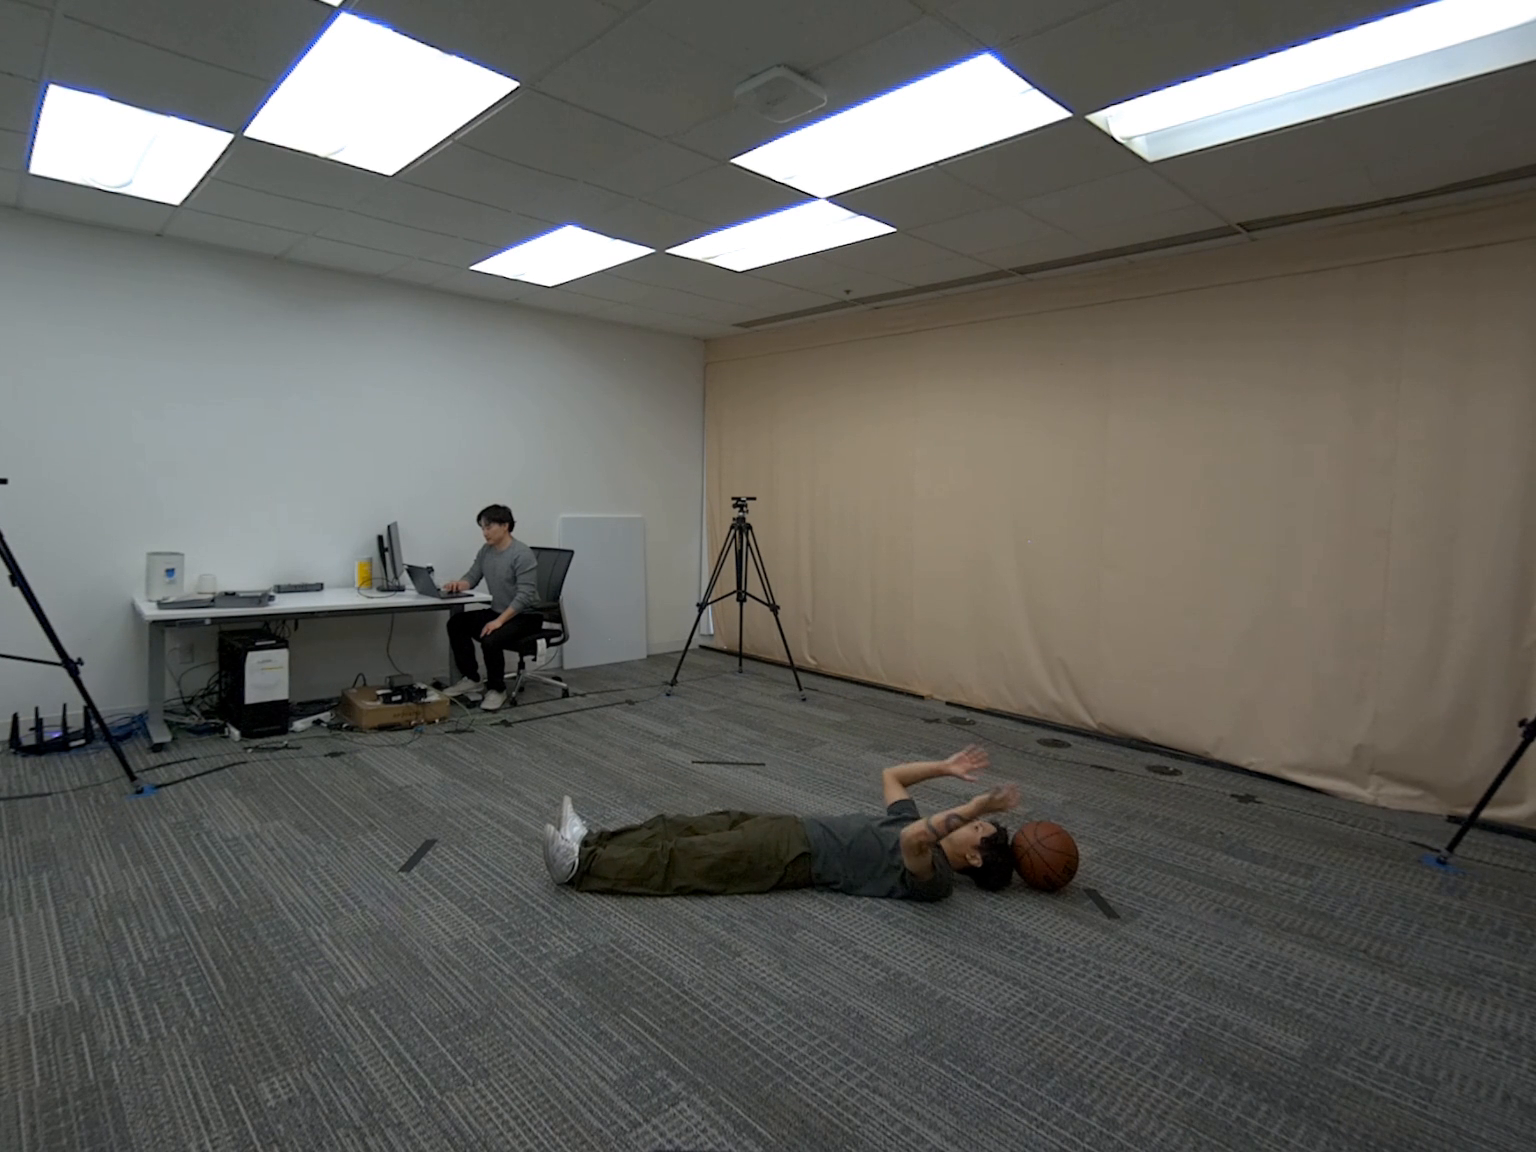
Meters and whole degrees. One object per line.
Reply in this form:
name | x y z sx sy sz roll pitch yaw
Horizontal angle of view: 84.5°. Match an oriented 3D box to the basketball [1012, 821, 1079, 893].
basketball | 1.003 1.016 3.089 0.236 0.235 0.237 1 4 -1
